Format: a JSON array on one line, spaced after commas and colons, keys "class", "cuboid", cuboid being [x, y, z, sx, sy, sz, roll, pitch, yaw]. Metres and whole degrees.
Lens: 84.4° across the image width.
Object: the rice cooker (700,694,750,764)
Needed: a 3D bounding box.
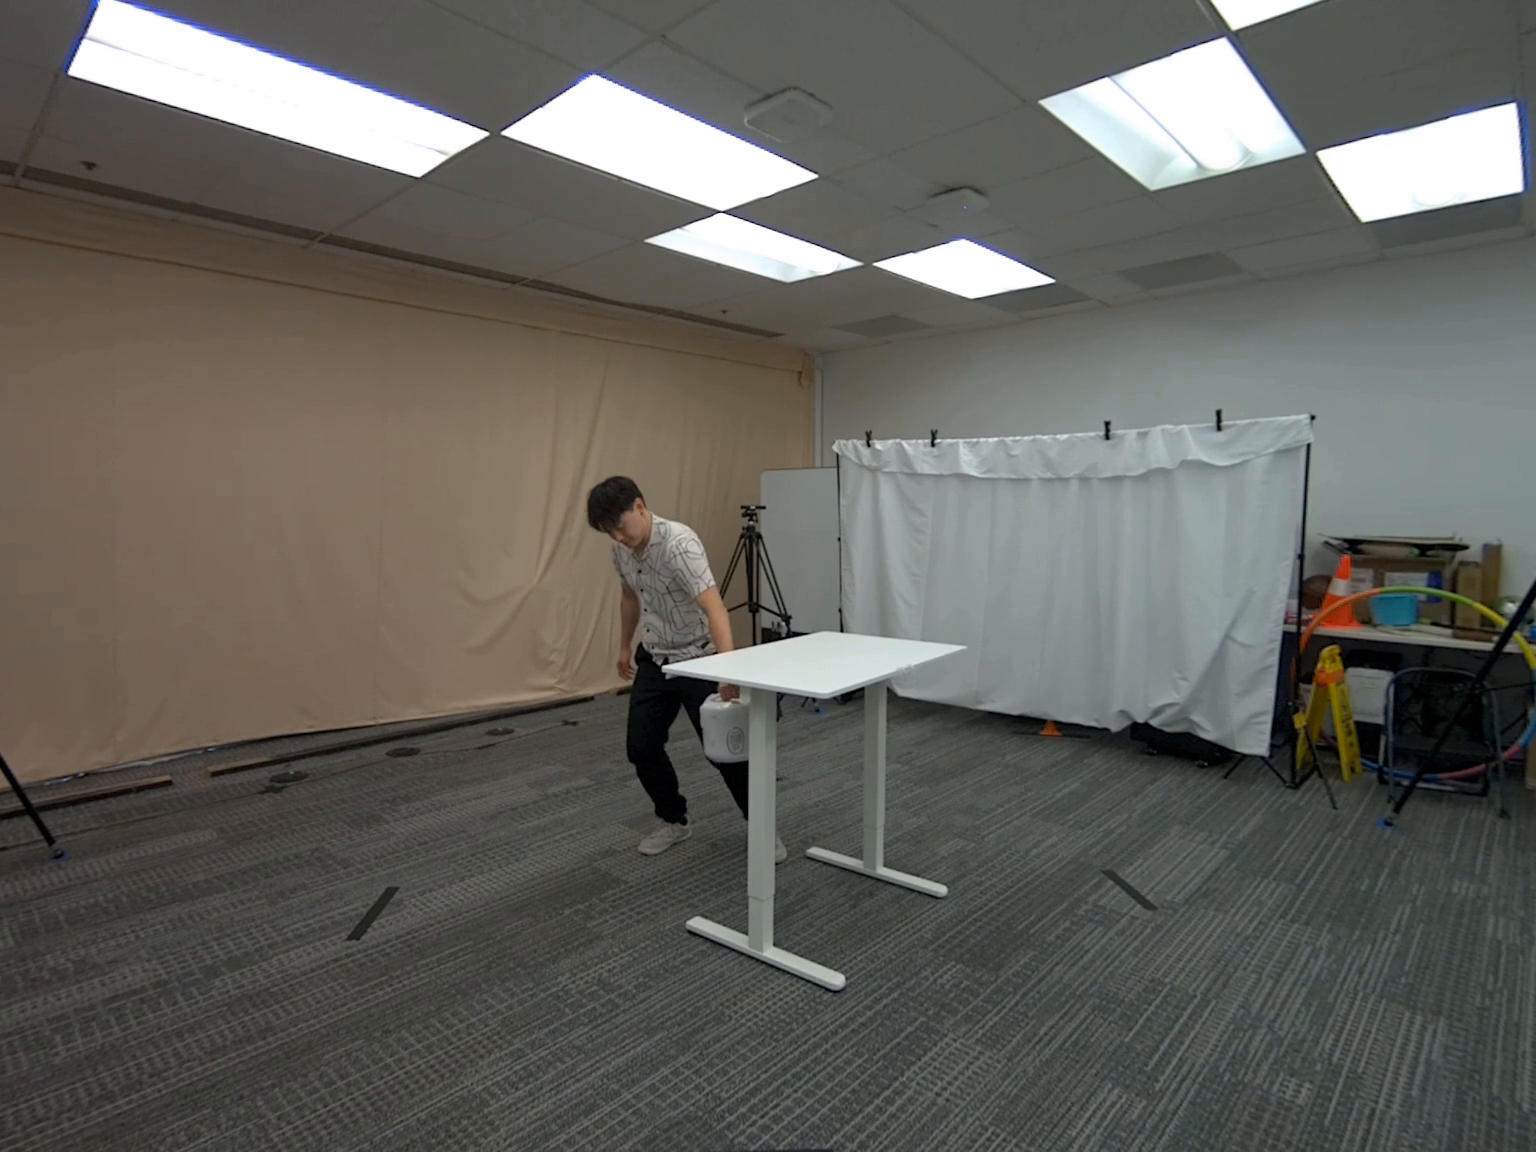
[{"class": "rice cooker", "cuboid": [-0.126, 0.525, 2.957, 0.219, 0.233, 0.219, -4, -1, -7]}]
